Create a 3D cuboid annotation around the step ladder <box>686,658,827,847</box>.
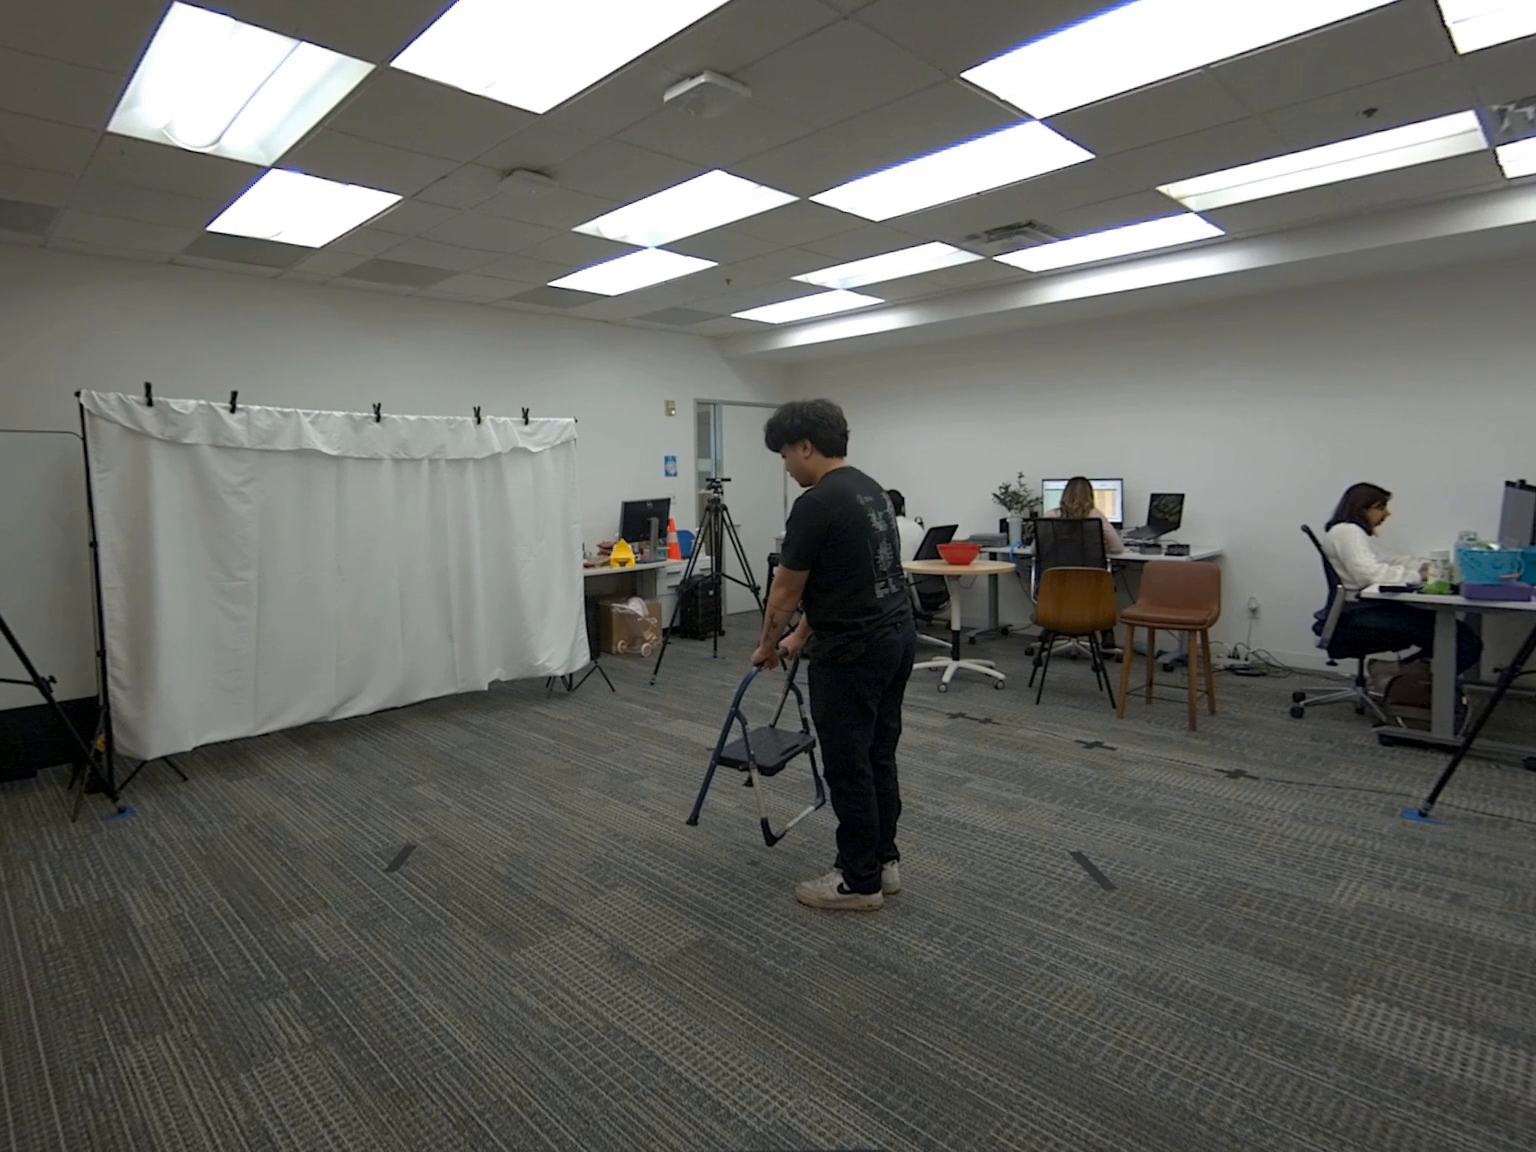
[{"bbox_3d":[-0.033,0.559,3.035,0.359,0.603,0.421,4,8,30],"label":"step ladder"}]
